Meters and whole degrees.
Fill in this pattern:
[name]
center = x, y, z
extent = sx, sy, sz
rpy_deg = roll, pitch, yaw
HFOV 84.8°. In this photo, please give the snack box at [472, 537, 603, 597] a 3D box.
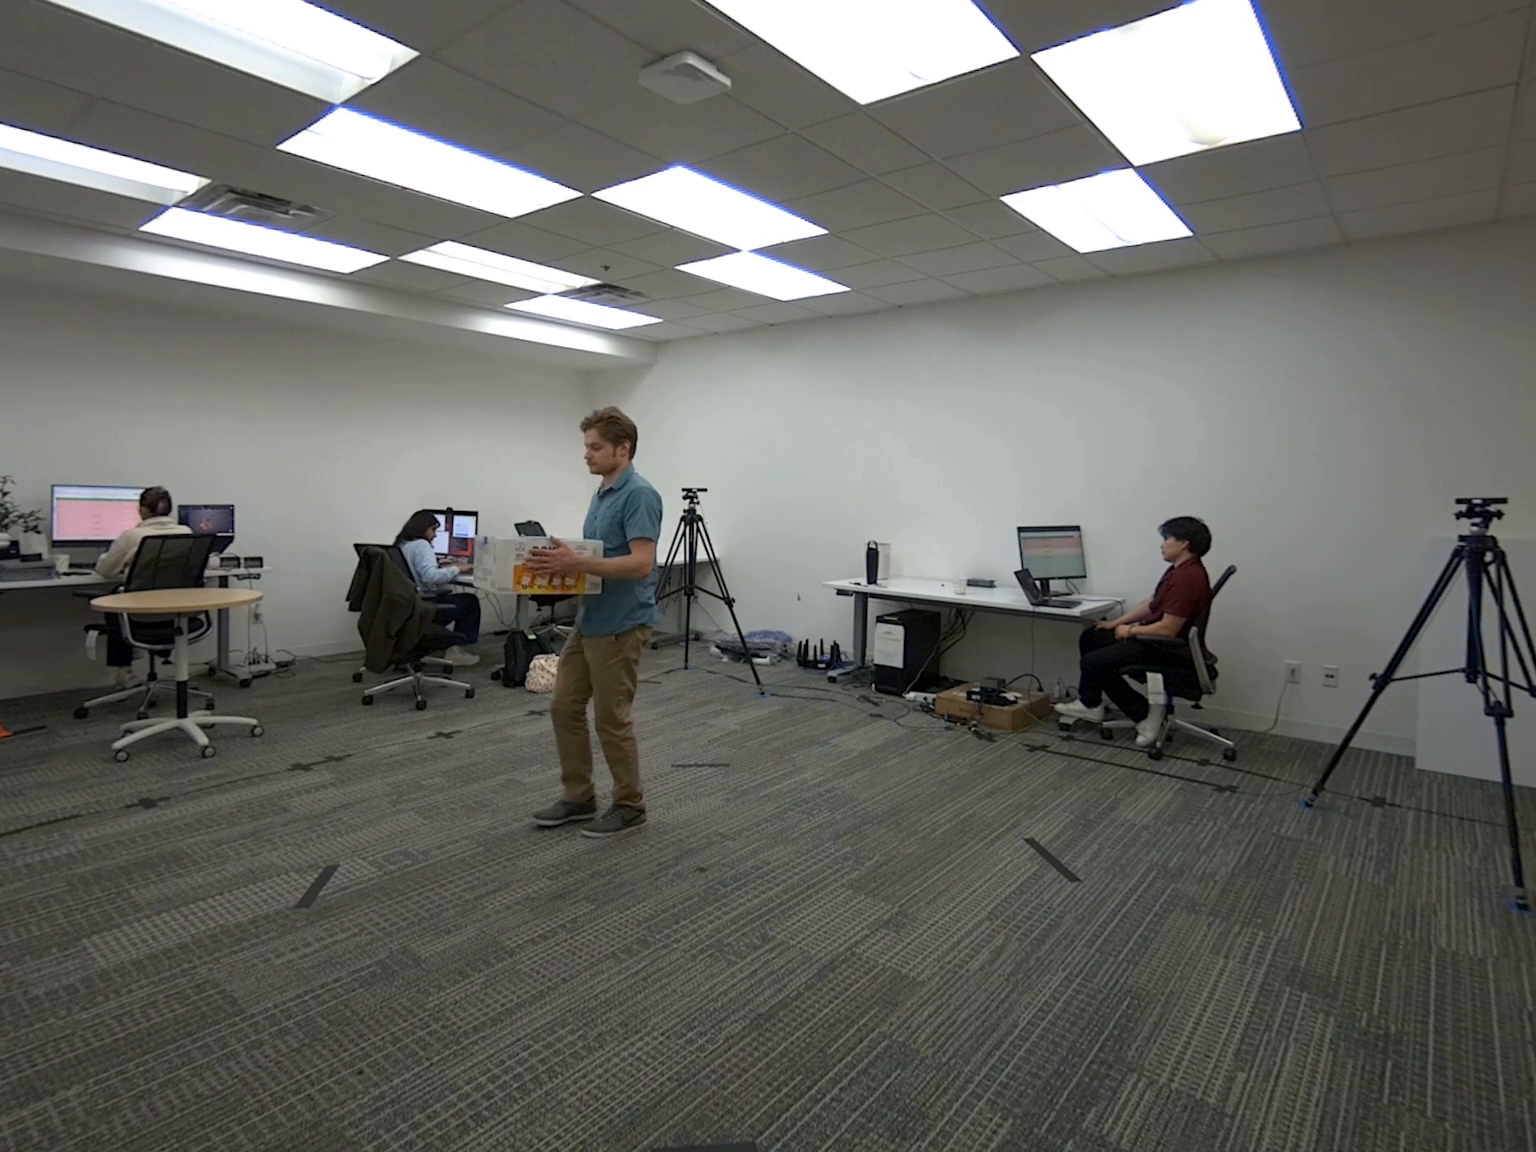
[snack box]
center = -0.903, -0.045, 3.267
extent = 0.394, 0.205, 0.350
rpy_deg = 0, 3, -31
